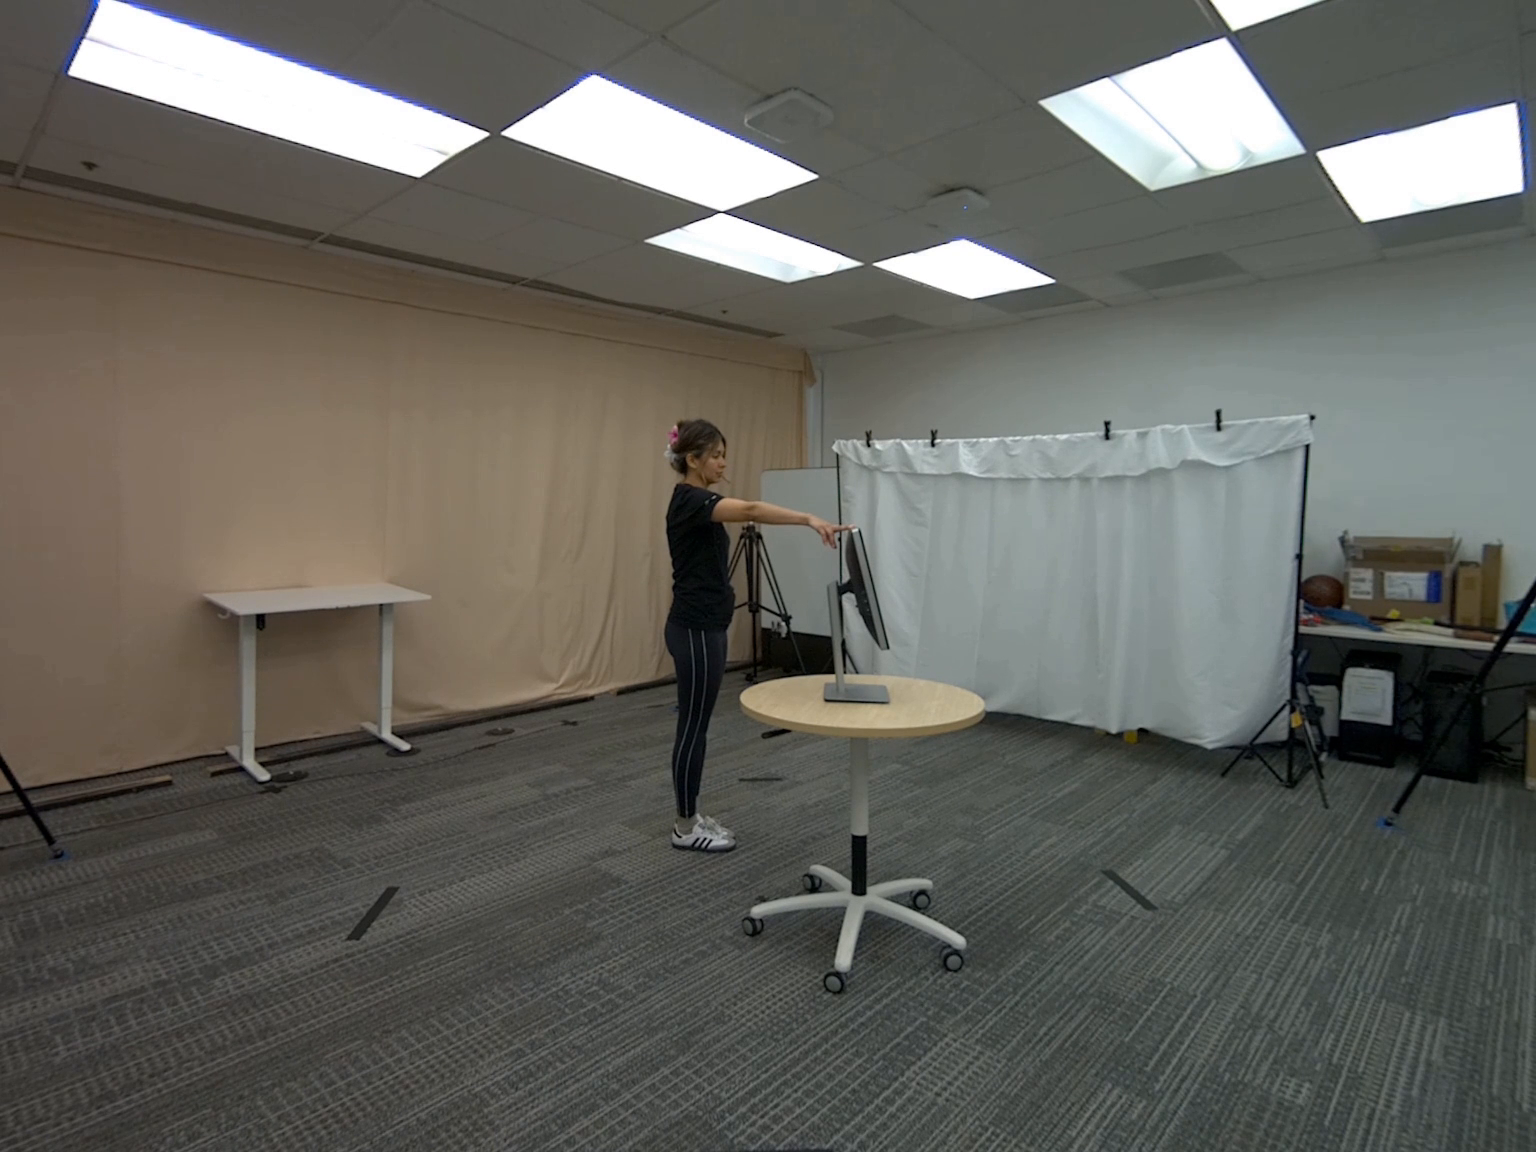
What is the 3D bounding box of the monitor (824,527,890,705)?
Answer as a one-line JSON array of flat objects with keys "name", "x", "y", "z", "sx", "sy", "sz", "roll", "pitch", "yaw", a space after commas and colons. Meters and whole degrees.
[{"name": "monitor", "x": 0.284, "y": 0.123, "z": 2.723, "sx": 0.188, "sy": 0.522, "sz": 0.537, "roll": 0, "pitch": 3, "yaw": 3}]
